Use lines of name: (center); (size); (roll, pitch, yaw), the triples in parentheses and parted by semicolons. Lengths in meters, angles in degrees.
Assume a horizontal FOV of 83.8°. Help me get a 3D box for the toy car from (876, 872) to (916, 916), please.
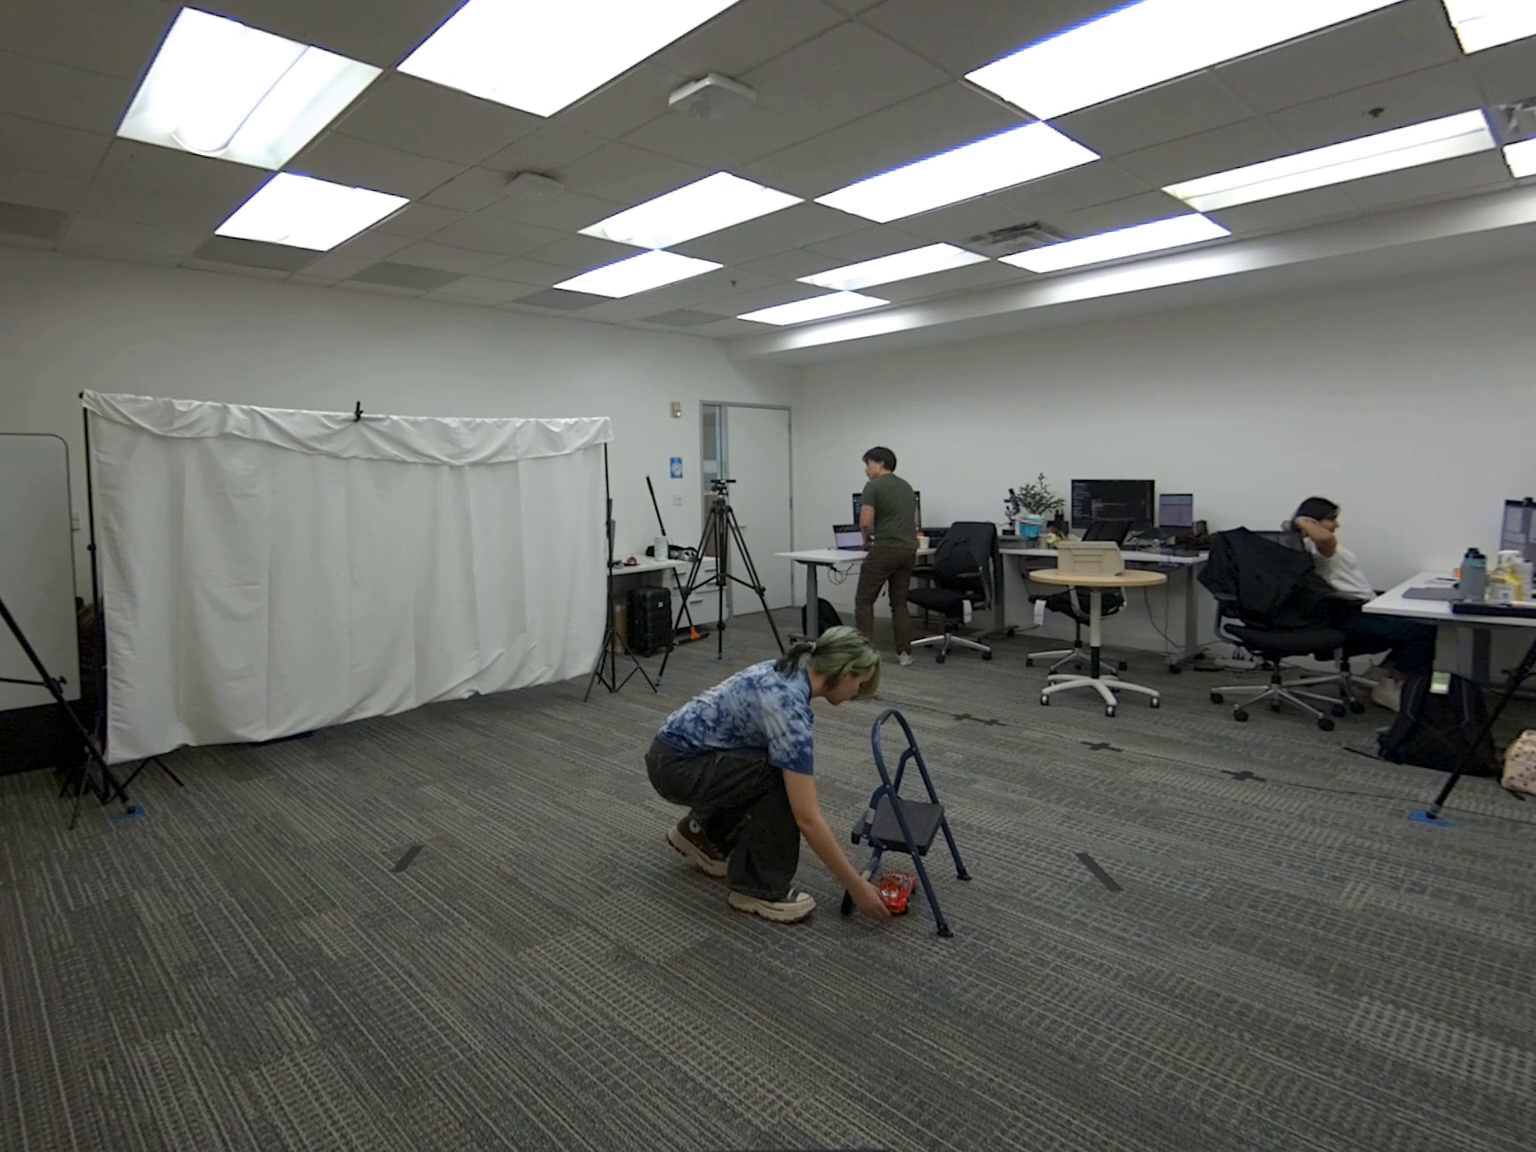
toy car: (0.414, 1.036, 2.802); (0.133, 0.083, 0.248); (2, -4, 22)
